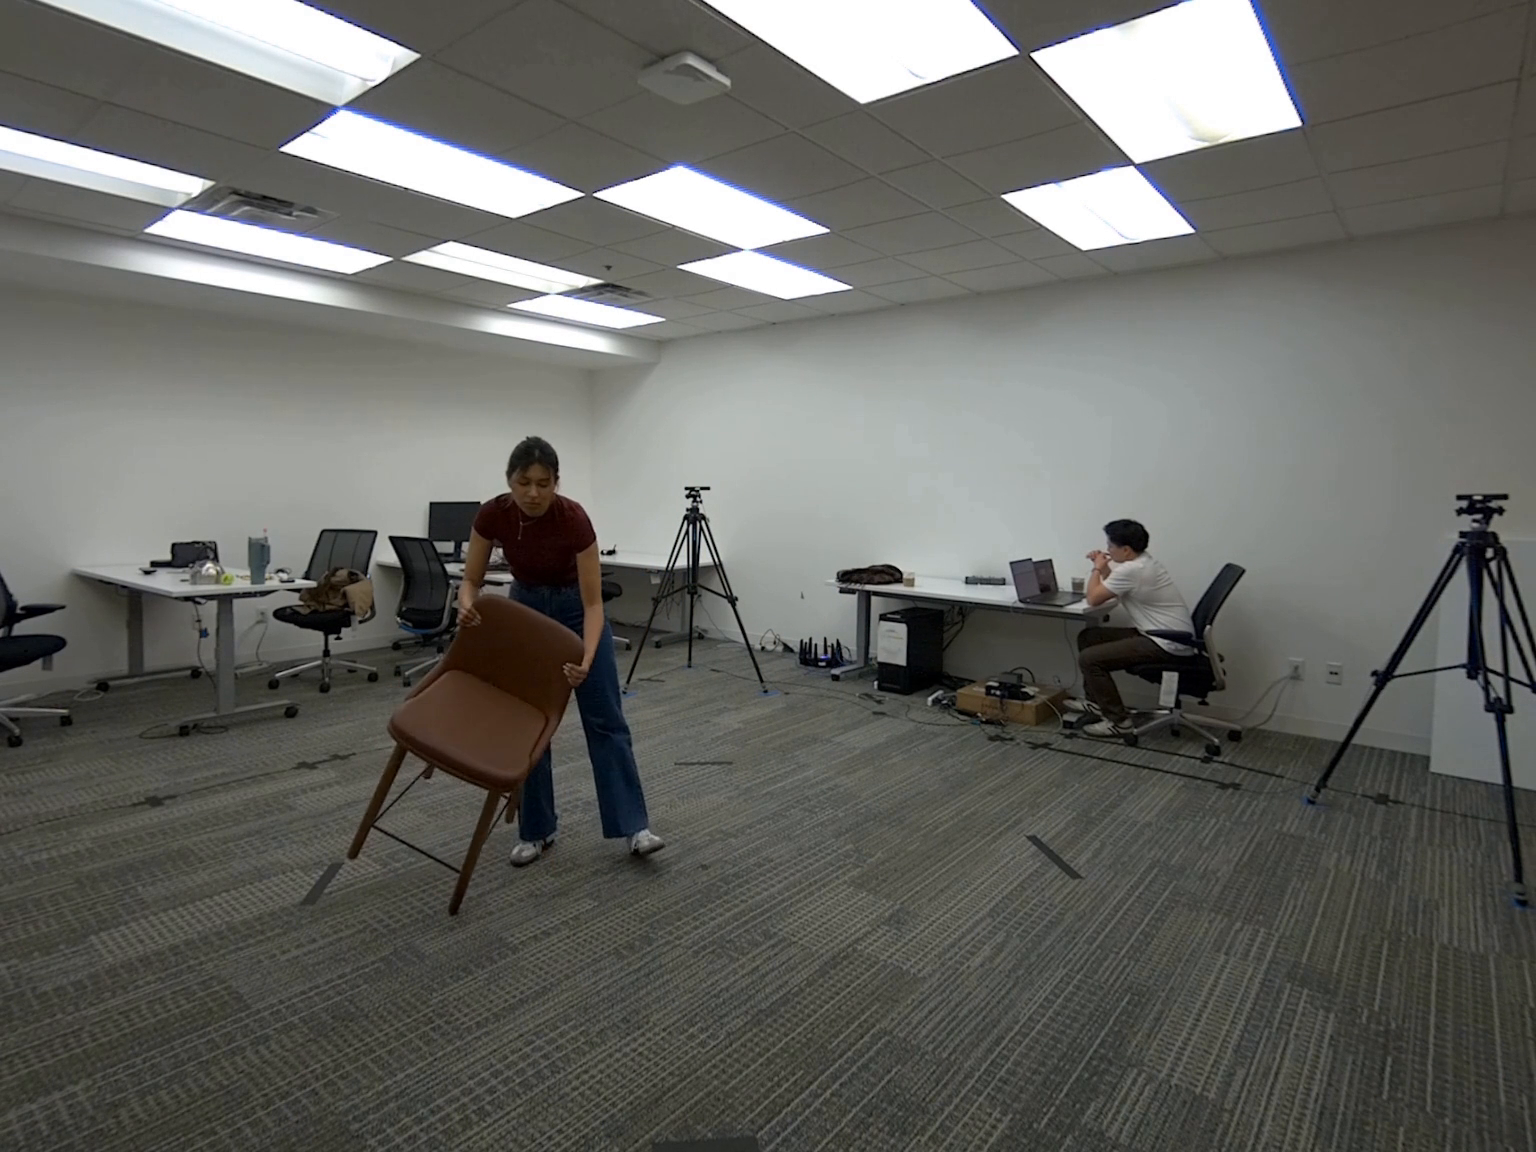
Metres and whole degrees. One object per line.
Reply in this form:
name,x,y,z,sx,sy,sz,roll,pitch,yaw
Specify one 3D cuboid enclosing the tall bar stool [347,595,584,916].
tall bar stool,-0.987,0.568,2.776,0.458,0.882,0.470,28,24,1
